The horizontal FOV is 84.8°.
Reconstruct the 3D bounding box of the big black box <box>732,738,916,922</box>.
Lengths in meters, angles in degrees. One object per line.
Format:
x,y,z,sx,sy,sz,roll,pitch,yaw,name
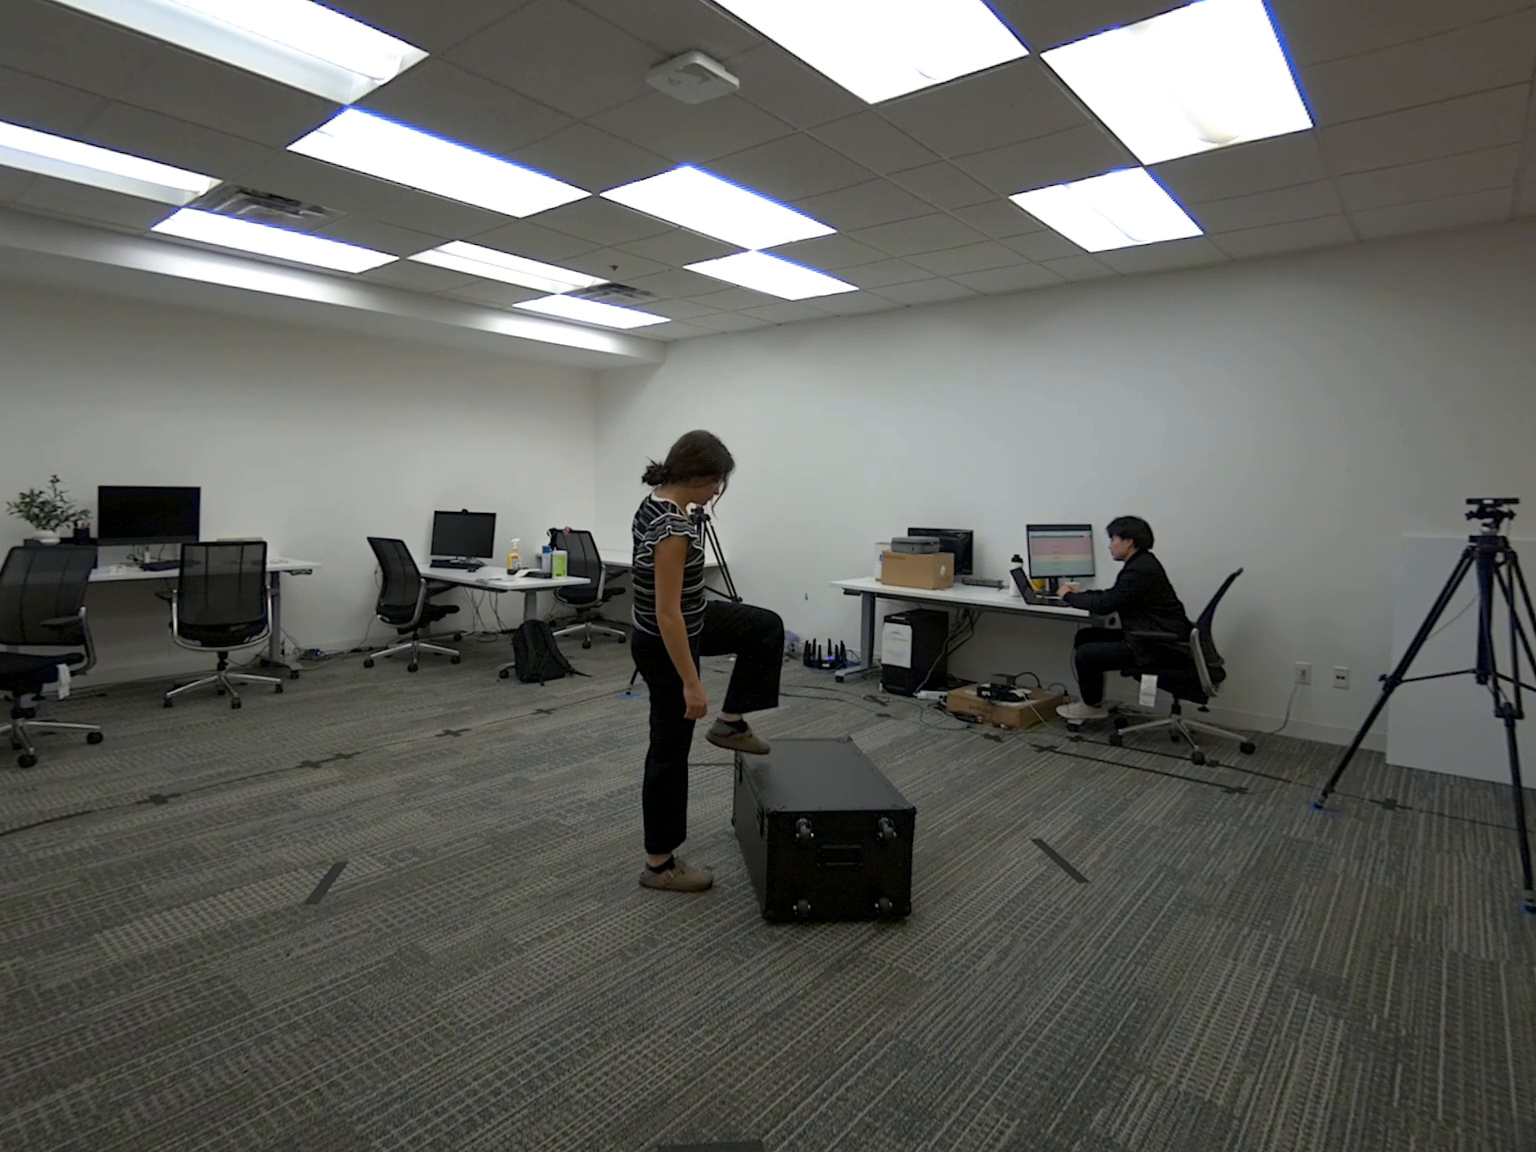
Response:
0.160,0.885,3.065,0.516,0.395,0.873,0,5,-10,big black box
